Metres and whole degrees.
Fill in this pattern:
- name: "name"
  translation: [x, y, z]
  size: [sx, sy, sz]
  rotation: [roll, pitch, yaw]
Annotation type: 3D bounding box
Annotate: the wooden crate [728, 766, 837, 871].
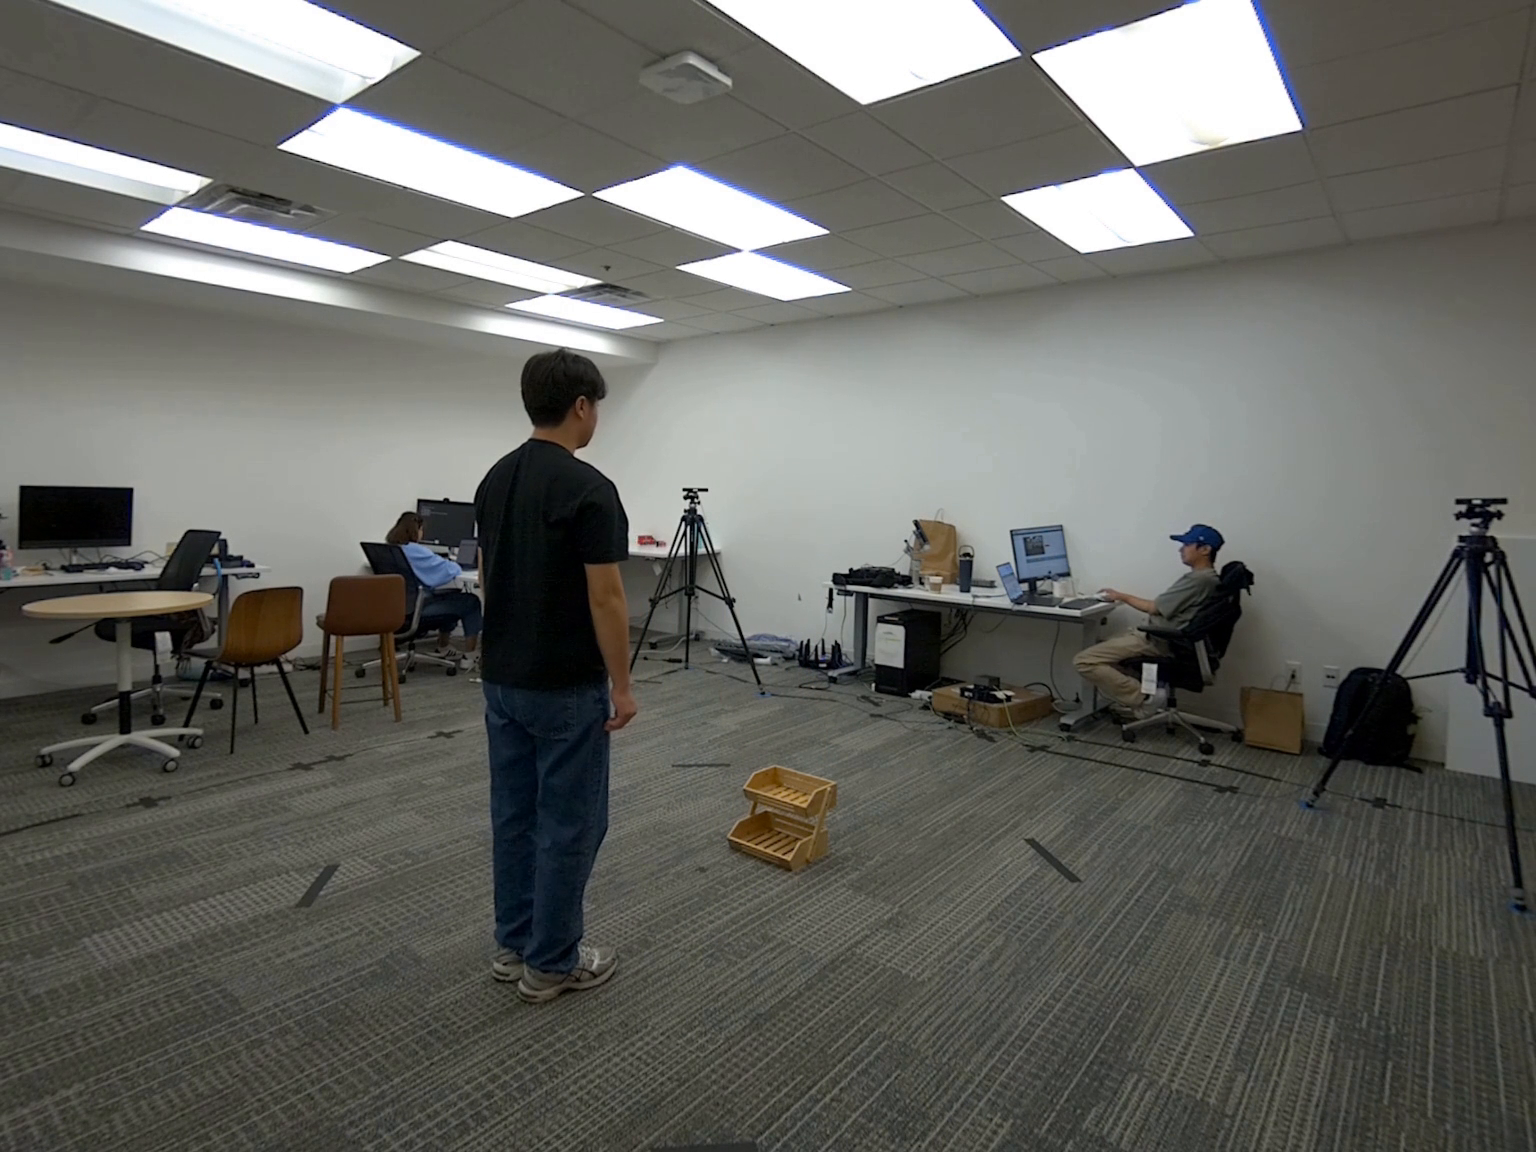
- name: "wooden crate"
  translation: [0.045, 0.932, 3.308]
  size: [0.335, 0.272, 0.293]
  rotation: [6, 5, 38]
